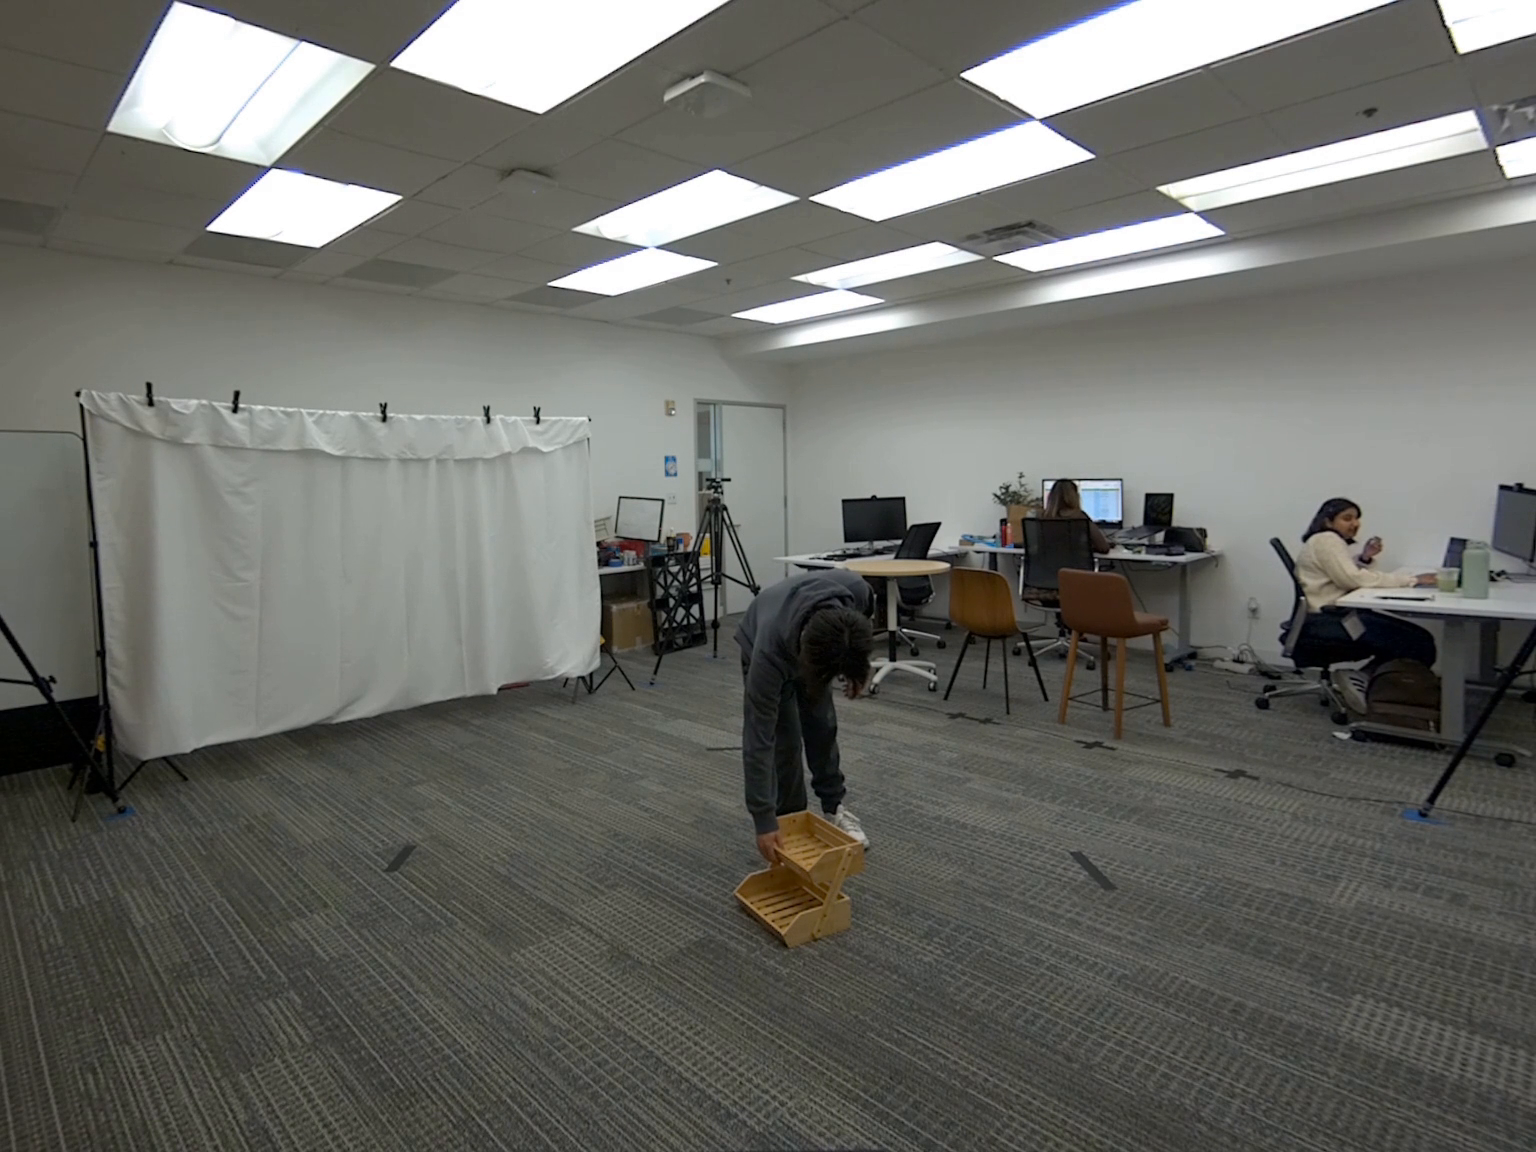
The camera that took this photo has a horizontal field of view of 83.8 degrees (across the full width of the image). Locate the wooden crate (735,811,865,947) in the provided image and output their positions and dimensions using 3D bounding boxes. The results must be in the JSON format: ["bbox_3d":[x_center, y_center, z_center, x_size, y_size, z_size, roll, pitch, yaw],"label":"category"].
[{"bbox_3d":[0.091,0.951,2.726,0.295,0.272,0.334,-4,6,-31],"label":"wooden crate"}]
